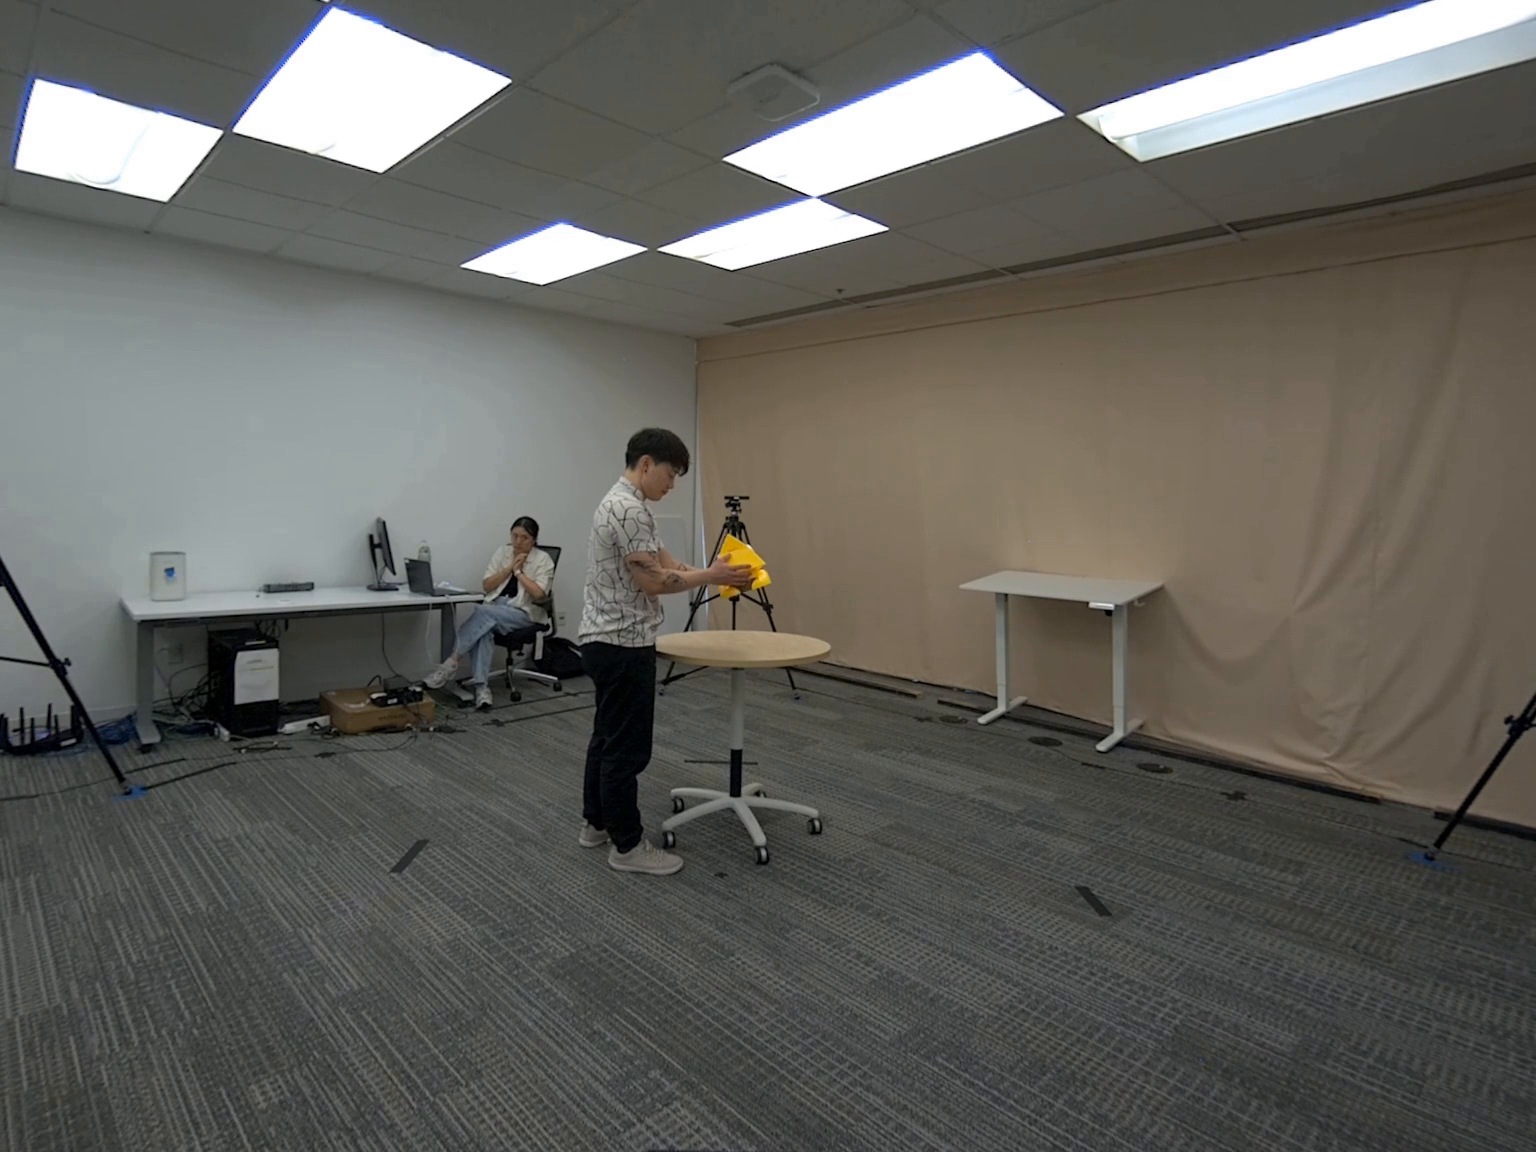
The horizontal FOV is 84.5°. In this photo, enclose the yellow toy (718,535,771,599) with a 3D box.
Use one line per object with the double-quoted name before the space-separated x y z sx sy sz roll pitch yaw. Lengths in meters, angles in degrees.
"yellow toy" -0.128 -0.053 3.251 0.205 0.230 0.193 -18 3 0
